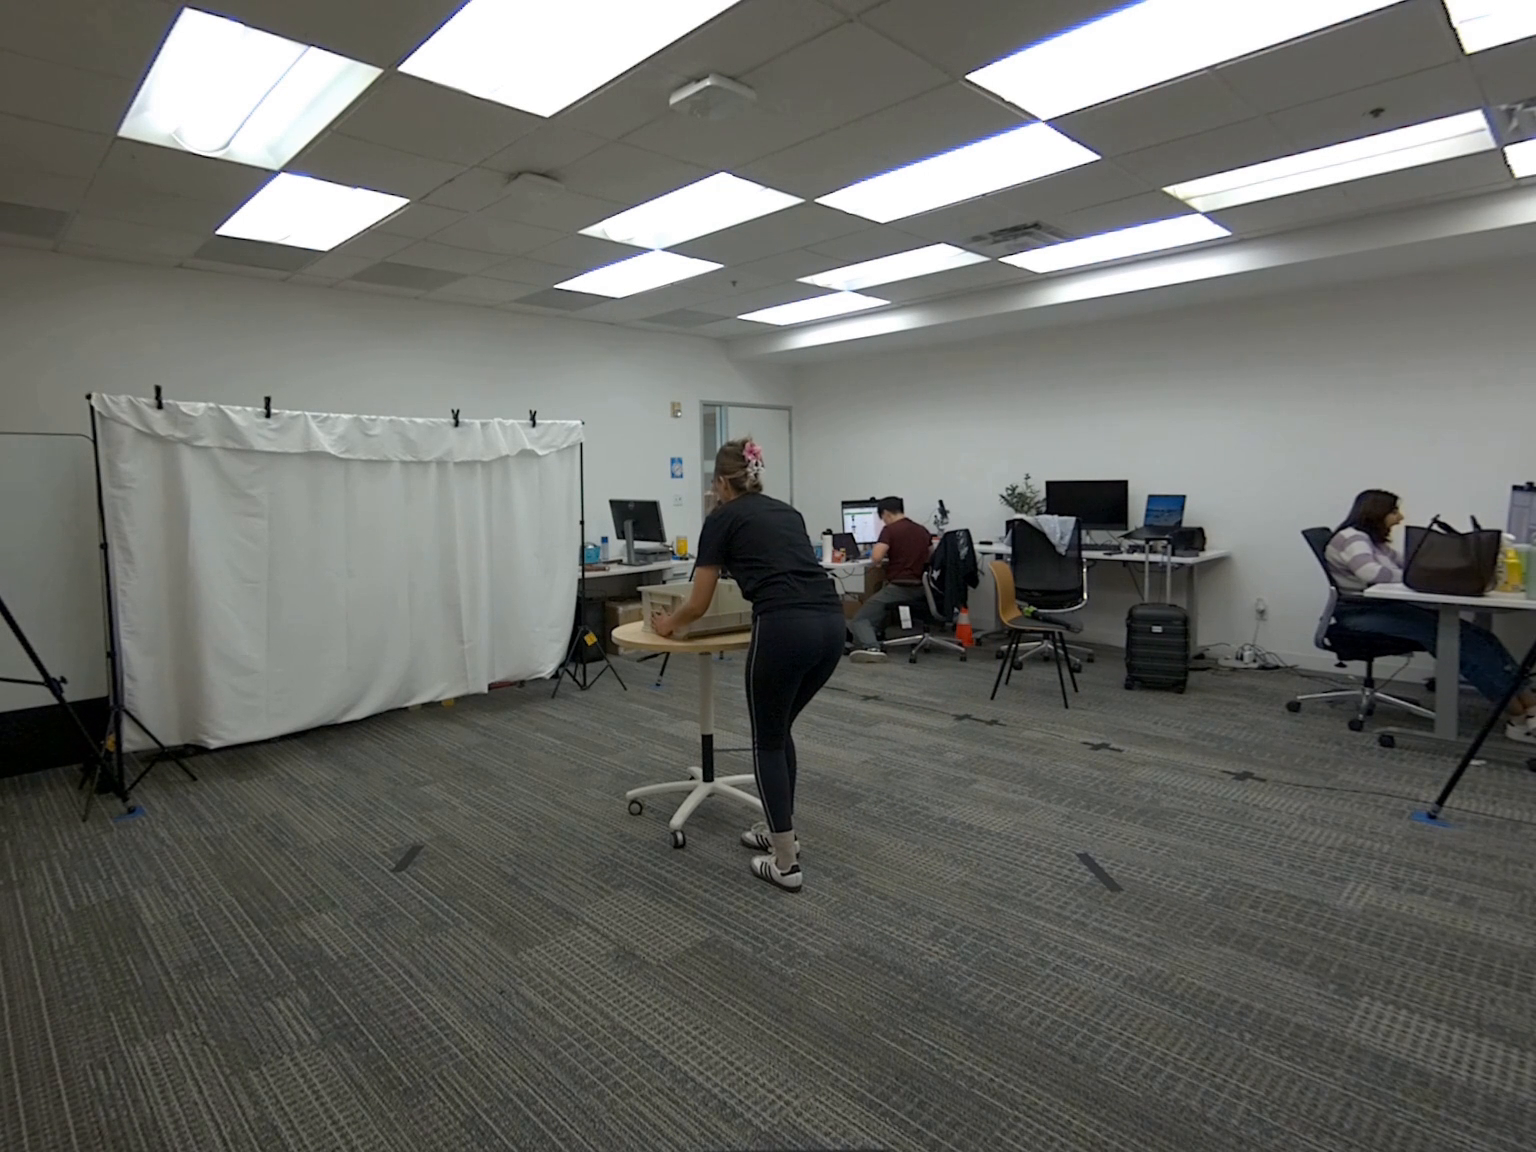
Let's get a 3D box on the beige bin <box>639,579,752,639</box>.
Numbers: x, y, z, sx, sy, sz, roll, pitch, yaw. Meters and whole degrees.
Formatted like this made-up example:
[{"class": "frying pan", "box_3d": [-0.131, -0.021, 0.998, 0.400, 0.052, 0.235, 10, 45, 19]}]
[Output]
[{"class": "beige bin", "box_3d": [-0.261, 0.135, 3.521, 0.412, 0.188, 0.388, -7, 6, -37]}]
